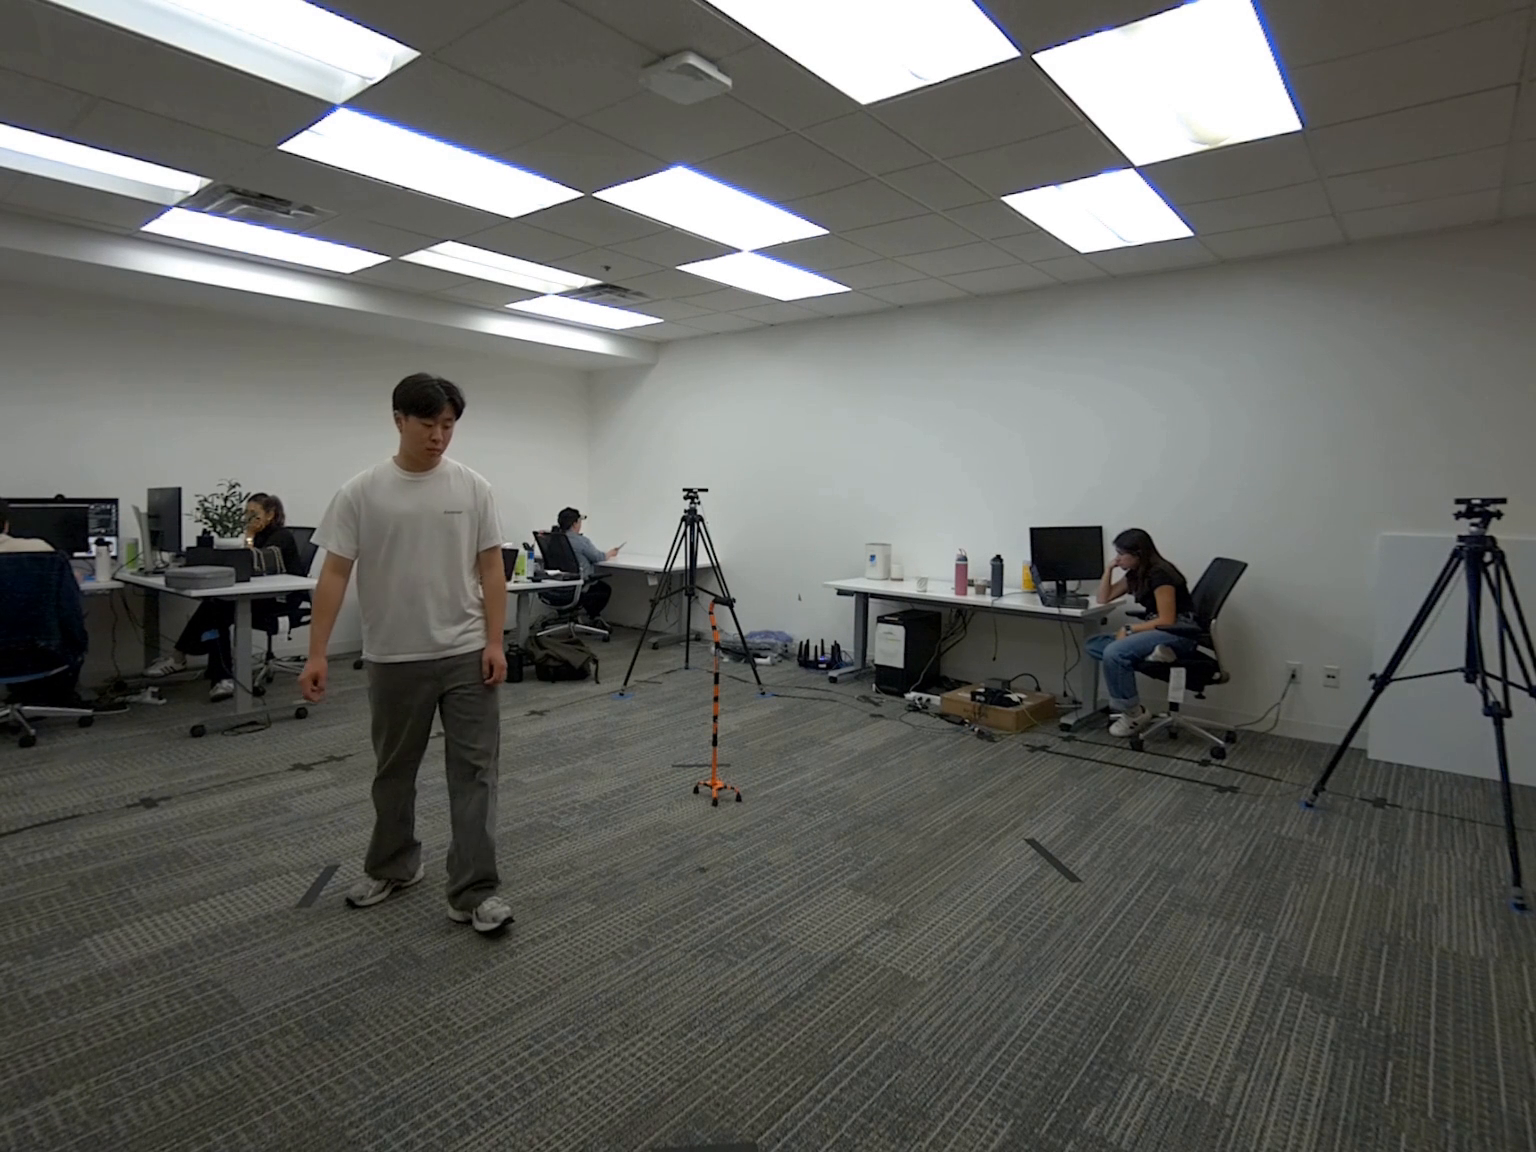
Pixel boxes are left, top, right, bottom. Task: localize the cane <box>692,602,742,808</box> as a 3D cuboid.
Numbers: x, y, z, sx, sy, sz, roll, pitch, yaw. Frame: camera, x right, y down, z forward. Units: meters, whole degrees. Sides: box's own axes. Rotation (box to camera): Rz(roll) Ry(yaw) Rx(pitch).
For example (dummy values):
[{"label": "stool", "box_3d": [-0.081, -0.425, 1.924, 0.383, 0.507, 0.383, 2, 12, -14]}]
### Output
[{"label": "cane", "box_3d": [-0.216, 0.540, 3.834, 0.147, 0.906, 0.213, 0, 3, -33]}]
